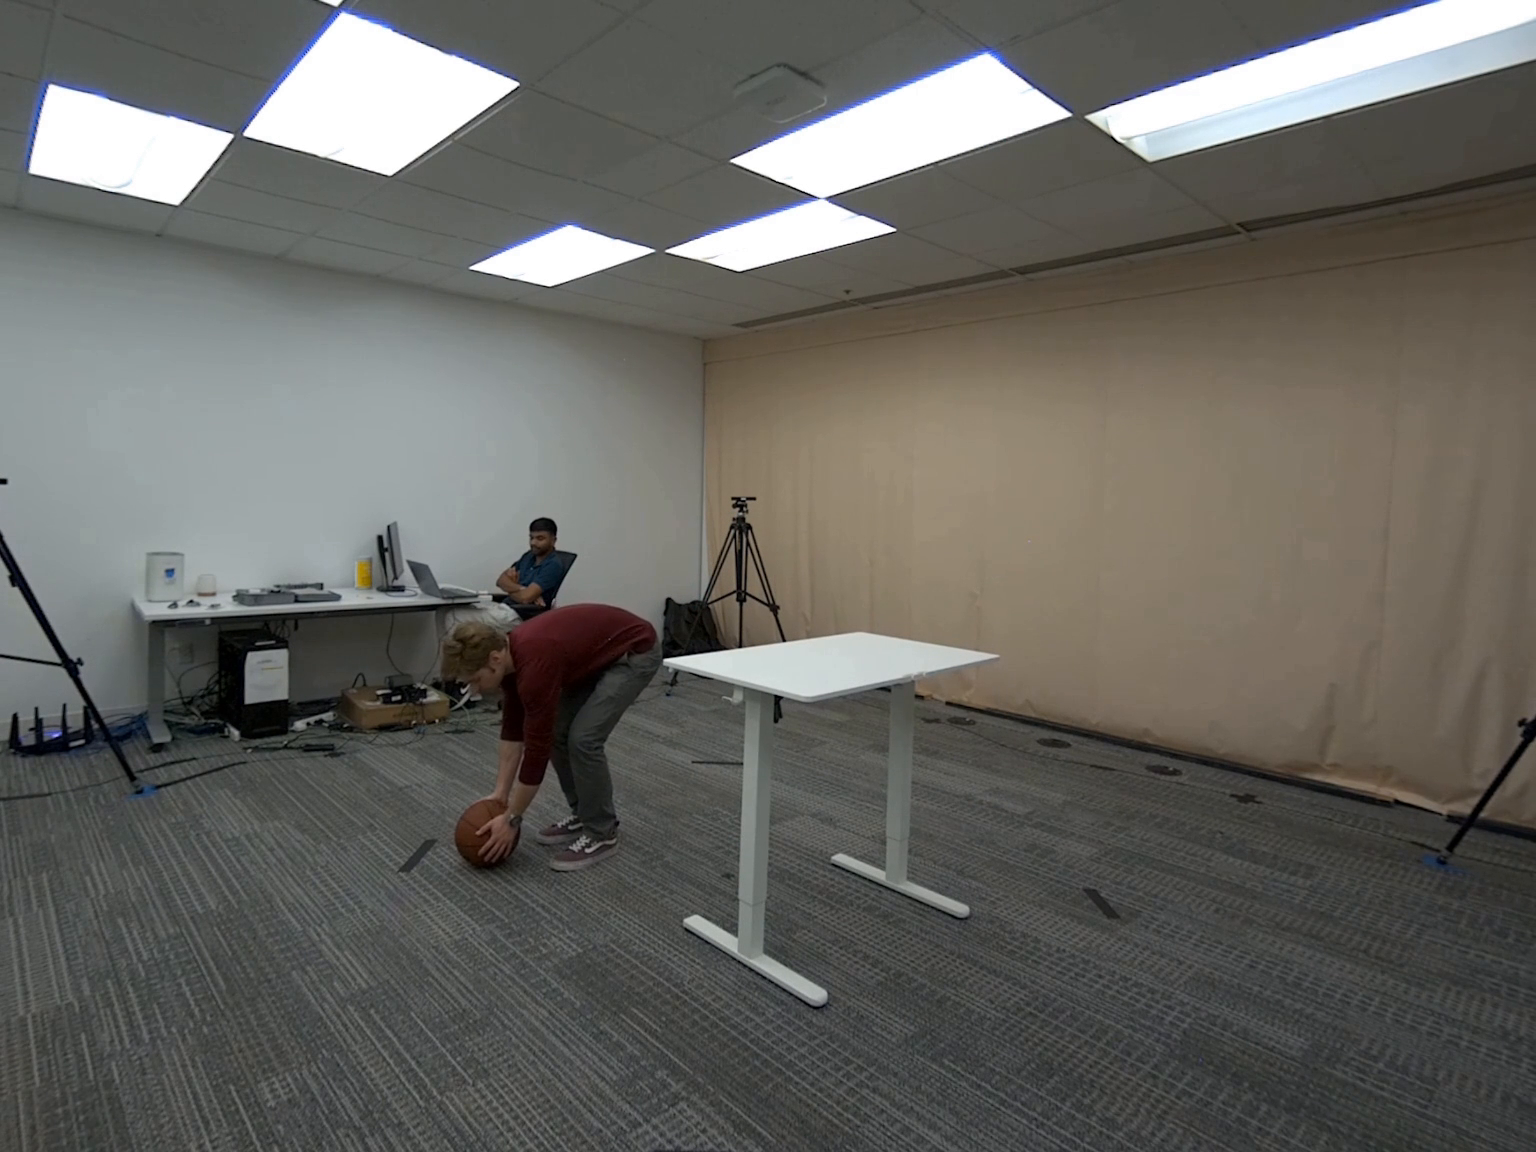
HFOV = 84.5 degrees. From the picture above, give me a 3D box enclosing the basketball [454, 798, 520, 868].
[{"bbox_3d":[-1.051,0.959,3.153,0.236,0.235,0.237,1,4,-1],"label":"basketball"}]
